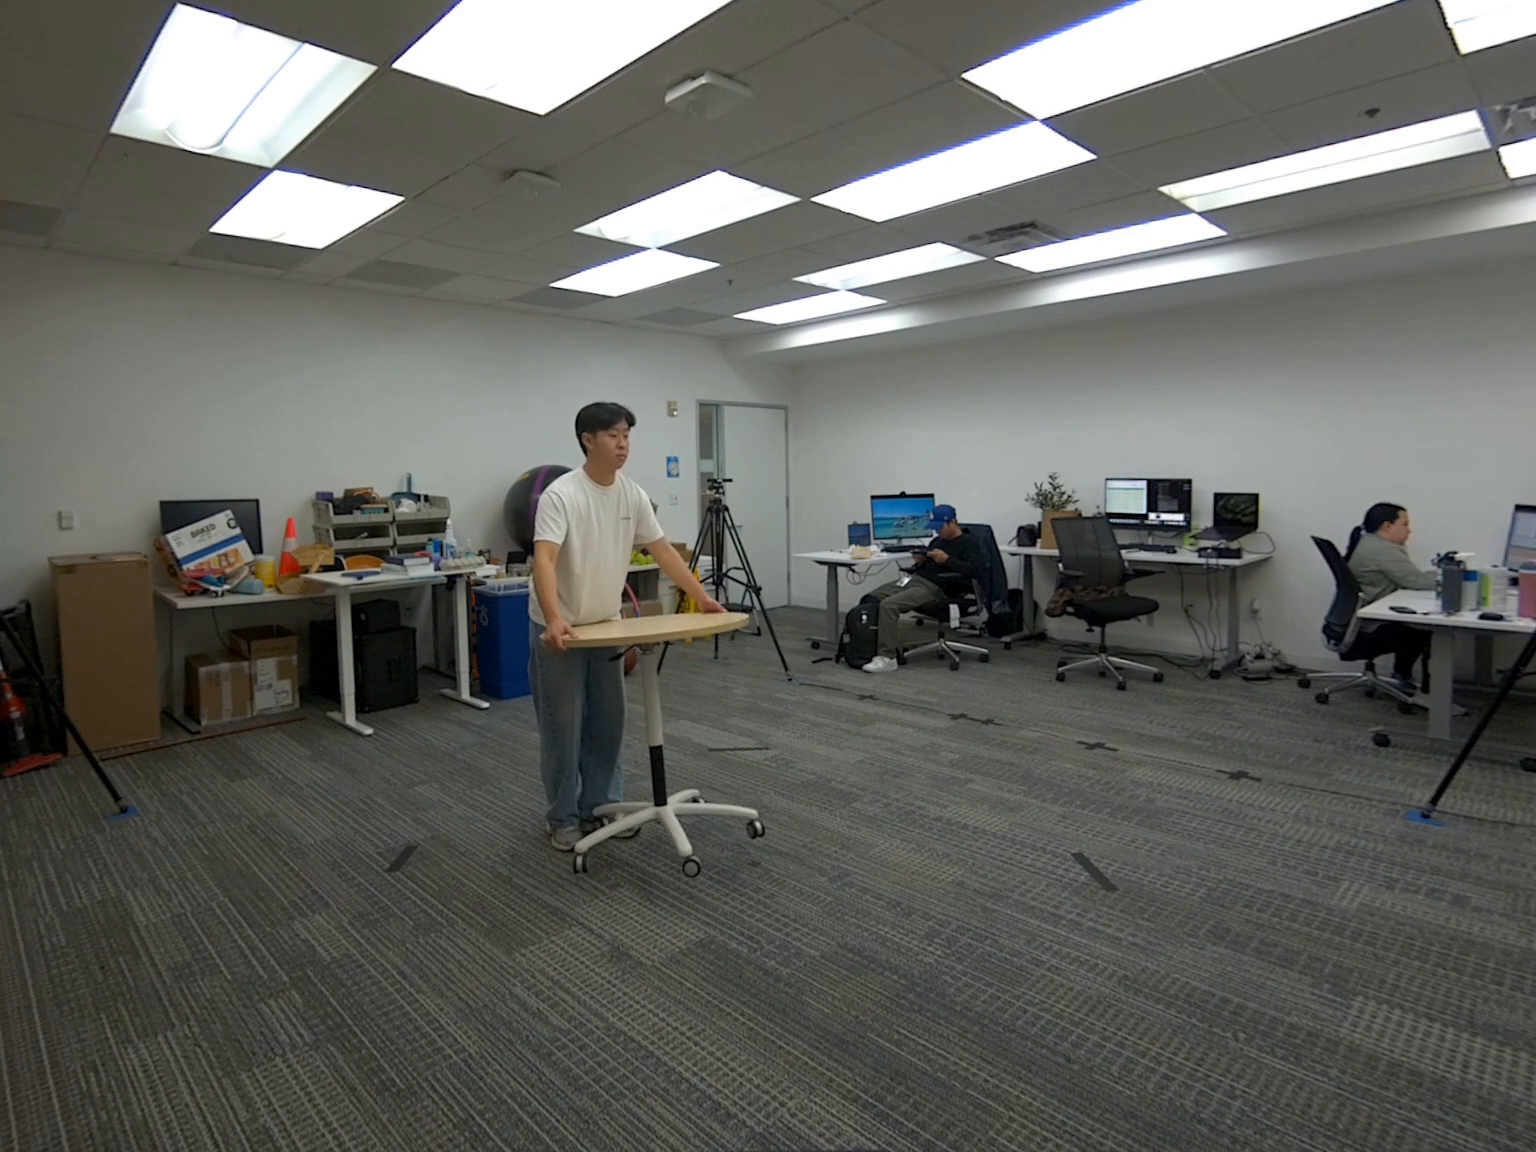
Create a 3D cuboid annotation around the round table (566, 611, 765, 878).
[{"bbox_3d":[-0.404,0.582,3.125,0.763,0.794,0.765,-5,1,-2],"label":"round table"}]
